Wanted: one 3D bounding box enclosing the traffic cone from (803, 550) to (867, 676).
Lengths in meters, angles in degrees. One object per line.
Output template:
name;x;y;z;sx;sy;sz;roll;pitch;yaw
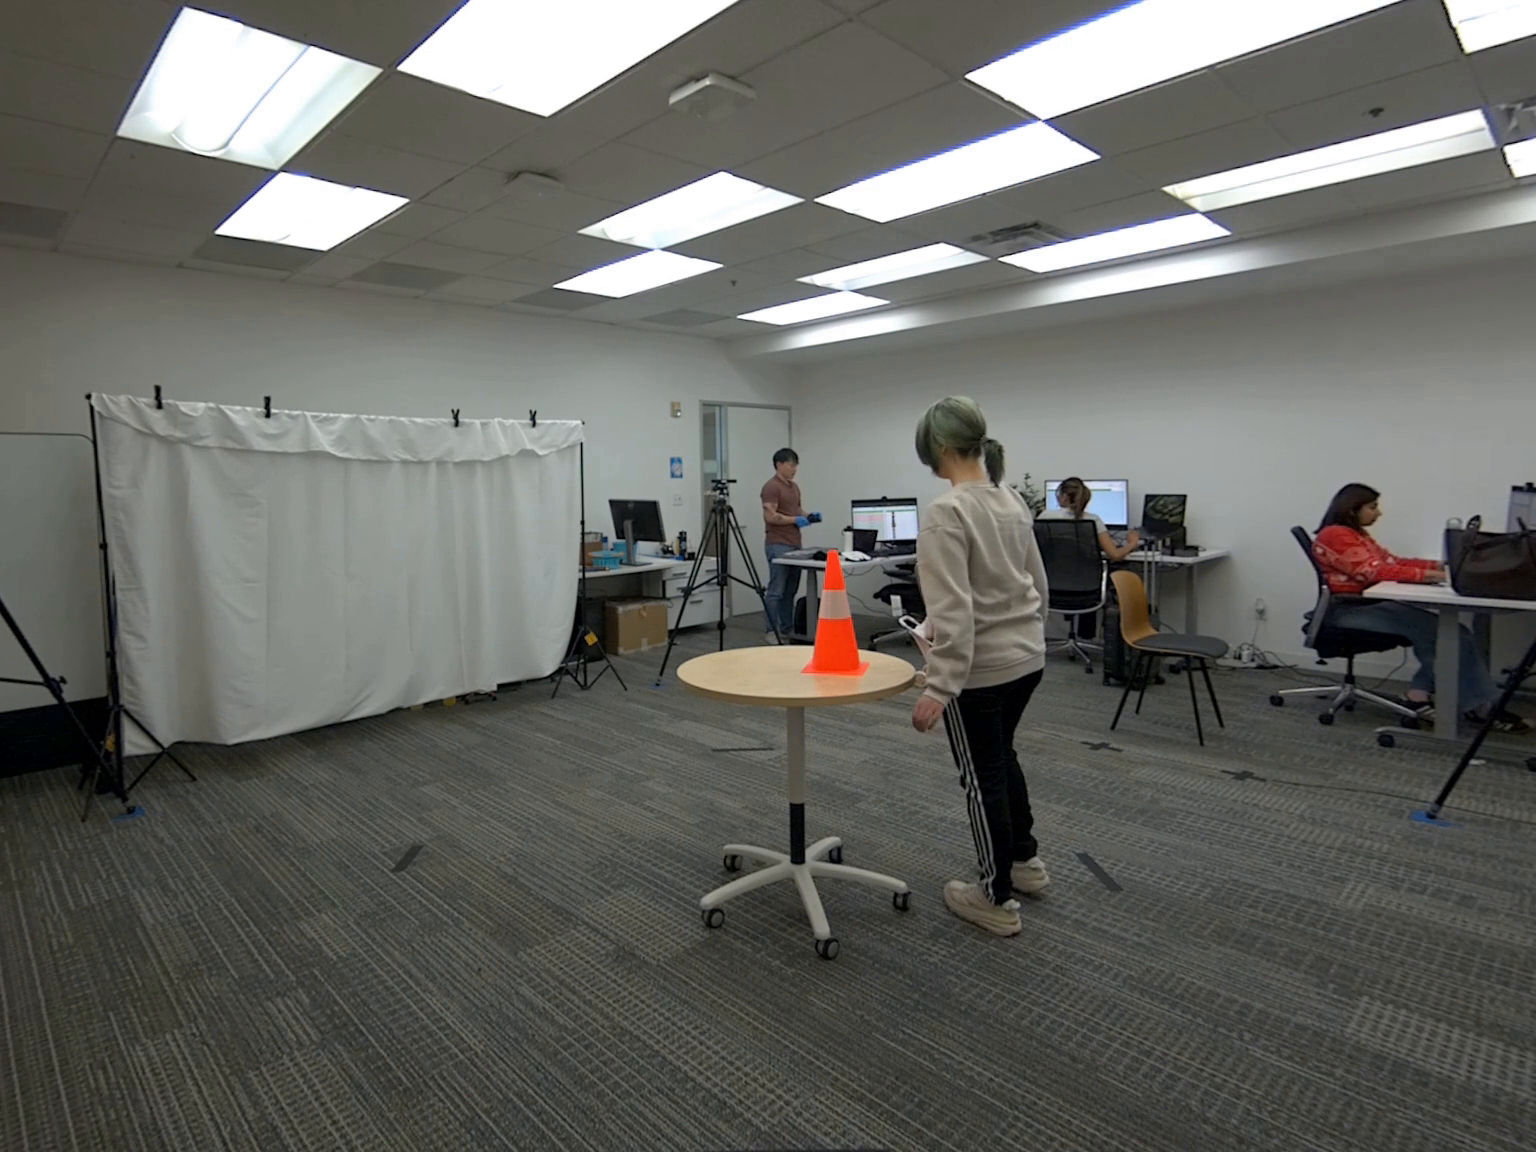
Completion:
traffic cone;0.223;0.105;2.757;0.207;0.383;0.201;-2;3;21
